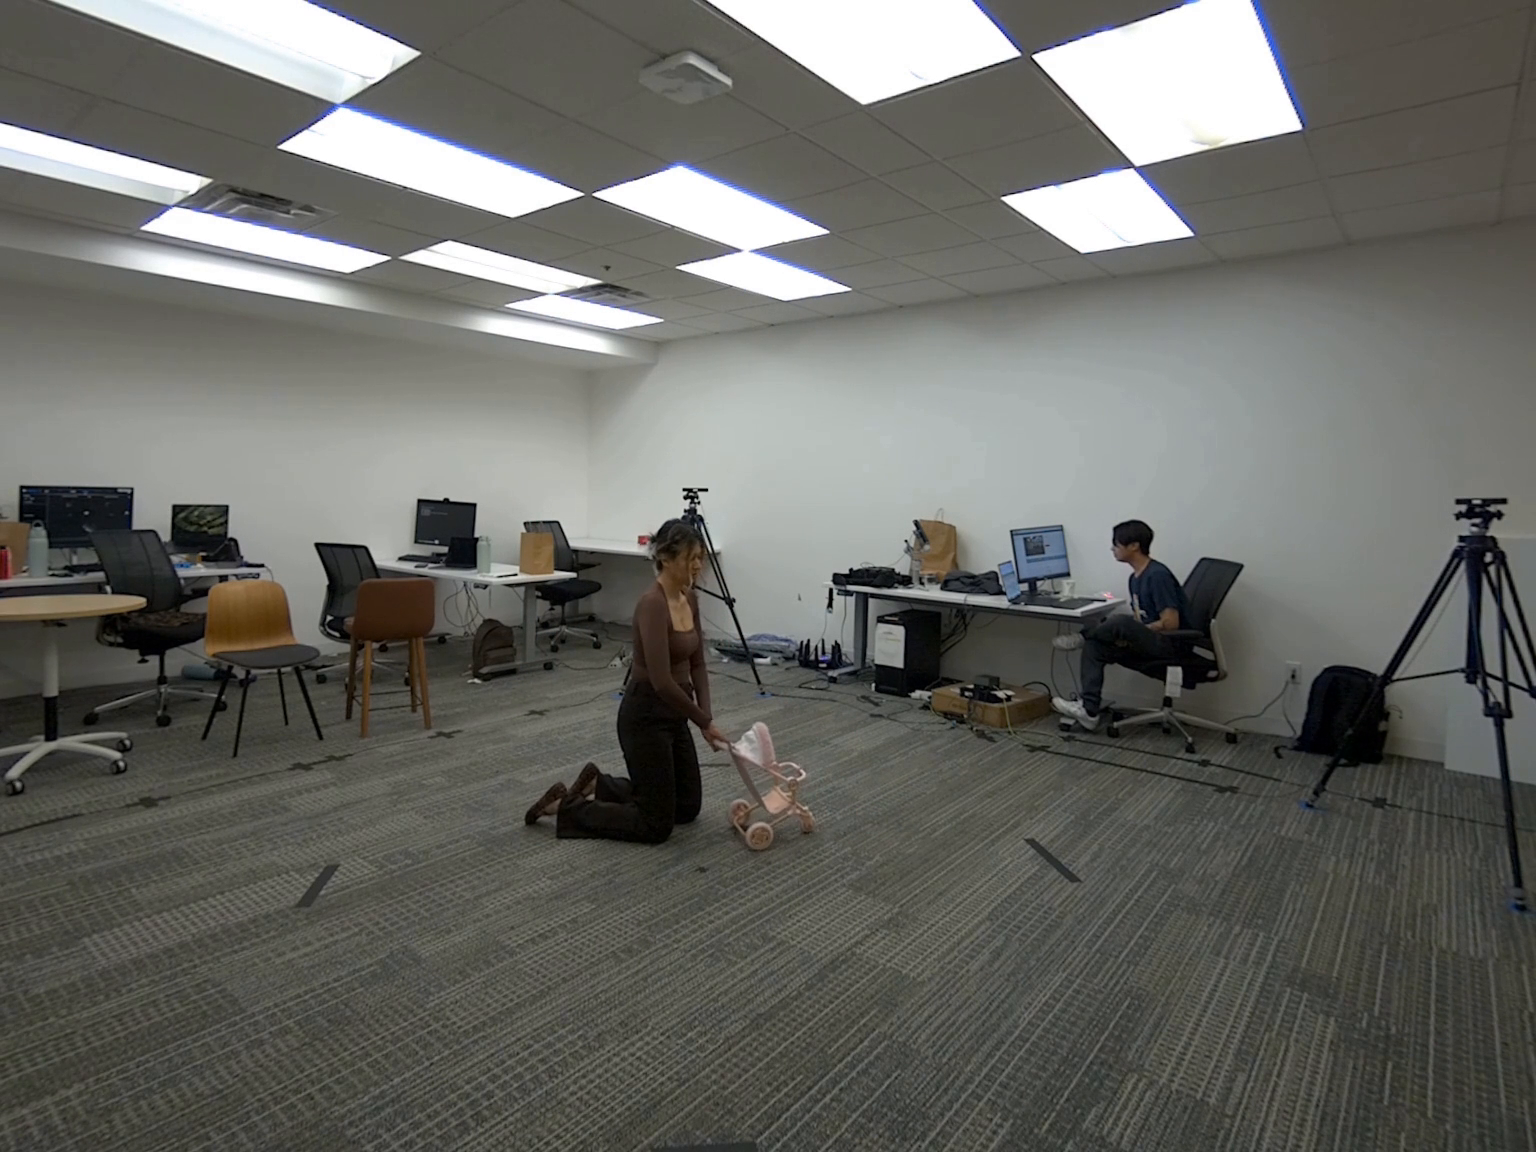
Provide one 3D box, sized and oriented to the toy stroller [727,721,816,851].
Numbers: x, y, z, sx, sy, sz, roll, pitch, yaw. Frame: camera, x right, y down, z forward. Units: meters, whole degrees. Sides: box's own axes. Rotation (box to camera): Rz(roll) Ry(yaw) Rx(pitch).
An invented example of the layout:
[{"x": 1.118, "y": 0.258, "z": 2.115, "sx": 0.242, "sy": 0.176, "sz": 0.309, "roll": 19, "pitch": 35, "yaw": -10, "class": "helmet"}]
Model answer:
[{"x": -0.013, "y": 0.824, "z": 3.407, "sx": 0.338, "sy": 0.530, "sz": 0.286, "roll": -16, "pitch": 8, "yaw": -13, "class": "toy stroller"}]
